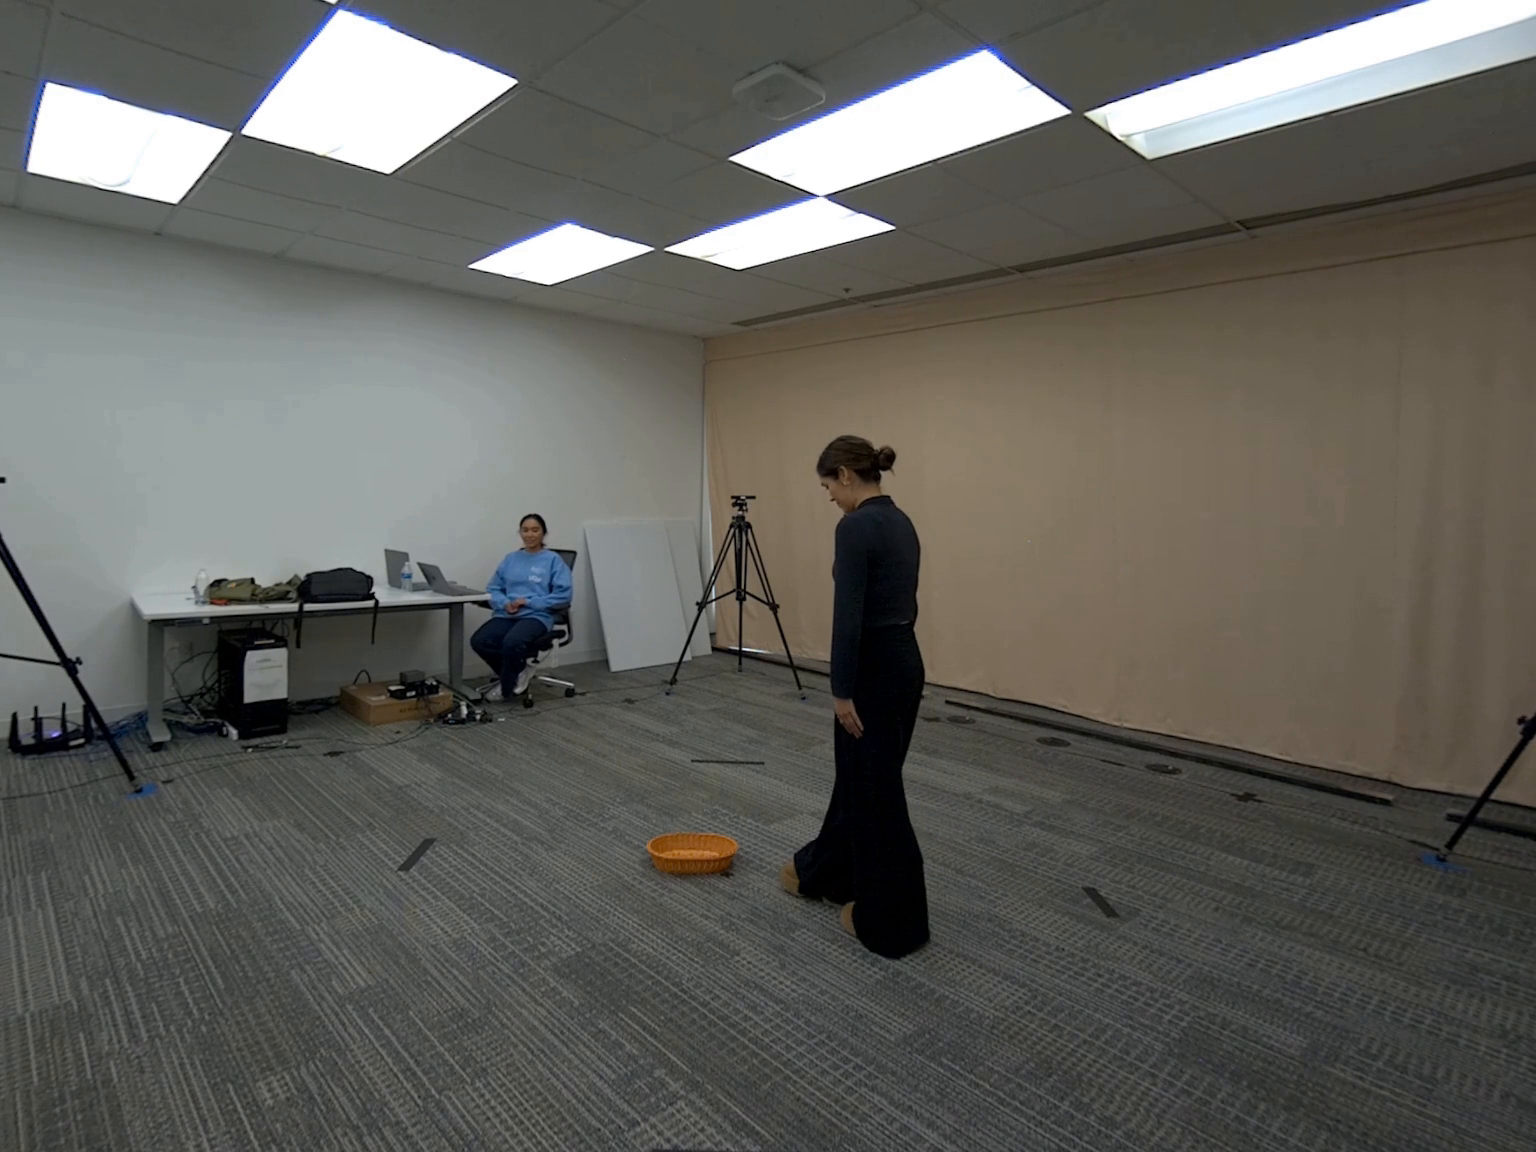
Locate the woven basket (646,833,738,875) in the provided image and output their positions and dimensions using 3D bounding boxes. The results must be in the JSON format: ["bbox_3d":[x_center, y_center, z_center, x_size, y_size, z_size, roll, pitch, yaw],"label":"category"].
[{"bbox_3d":[-0.294,1.050,3.192,0.349,0.073,0.254,1,4,-4],"label":"woven basket"}]
